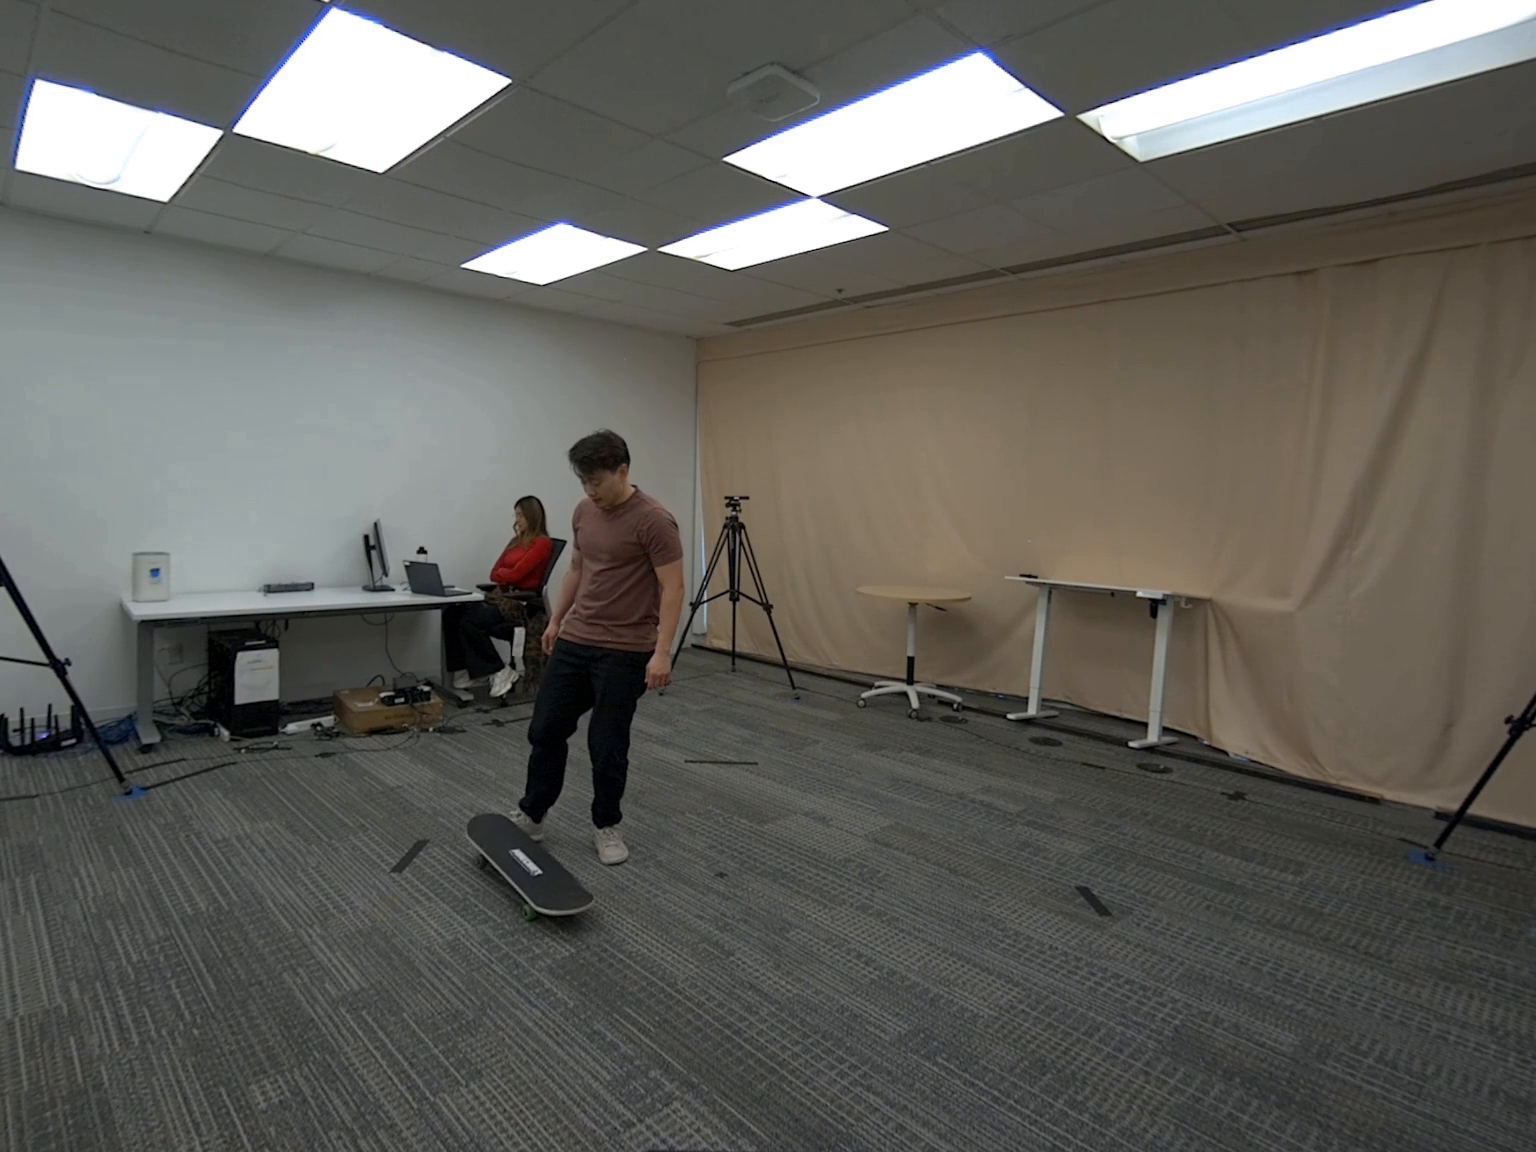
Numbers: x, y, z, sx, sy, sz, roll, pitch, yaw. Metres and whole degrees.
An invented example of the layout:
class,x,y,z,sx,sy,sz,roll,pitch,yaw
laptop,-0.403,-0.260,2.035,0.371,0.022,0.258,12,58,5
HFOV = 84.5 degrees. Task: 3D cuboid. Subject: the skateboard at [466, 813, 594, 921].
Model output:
class,x,y,z,sx,sy,sz,roll,pitch,yaw
skateboard,-0.859,1.038,2.947,0.189,0.110,0.807,-2,10,-39
